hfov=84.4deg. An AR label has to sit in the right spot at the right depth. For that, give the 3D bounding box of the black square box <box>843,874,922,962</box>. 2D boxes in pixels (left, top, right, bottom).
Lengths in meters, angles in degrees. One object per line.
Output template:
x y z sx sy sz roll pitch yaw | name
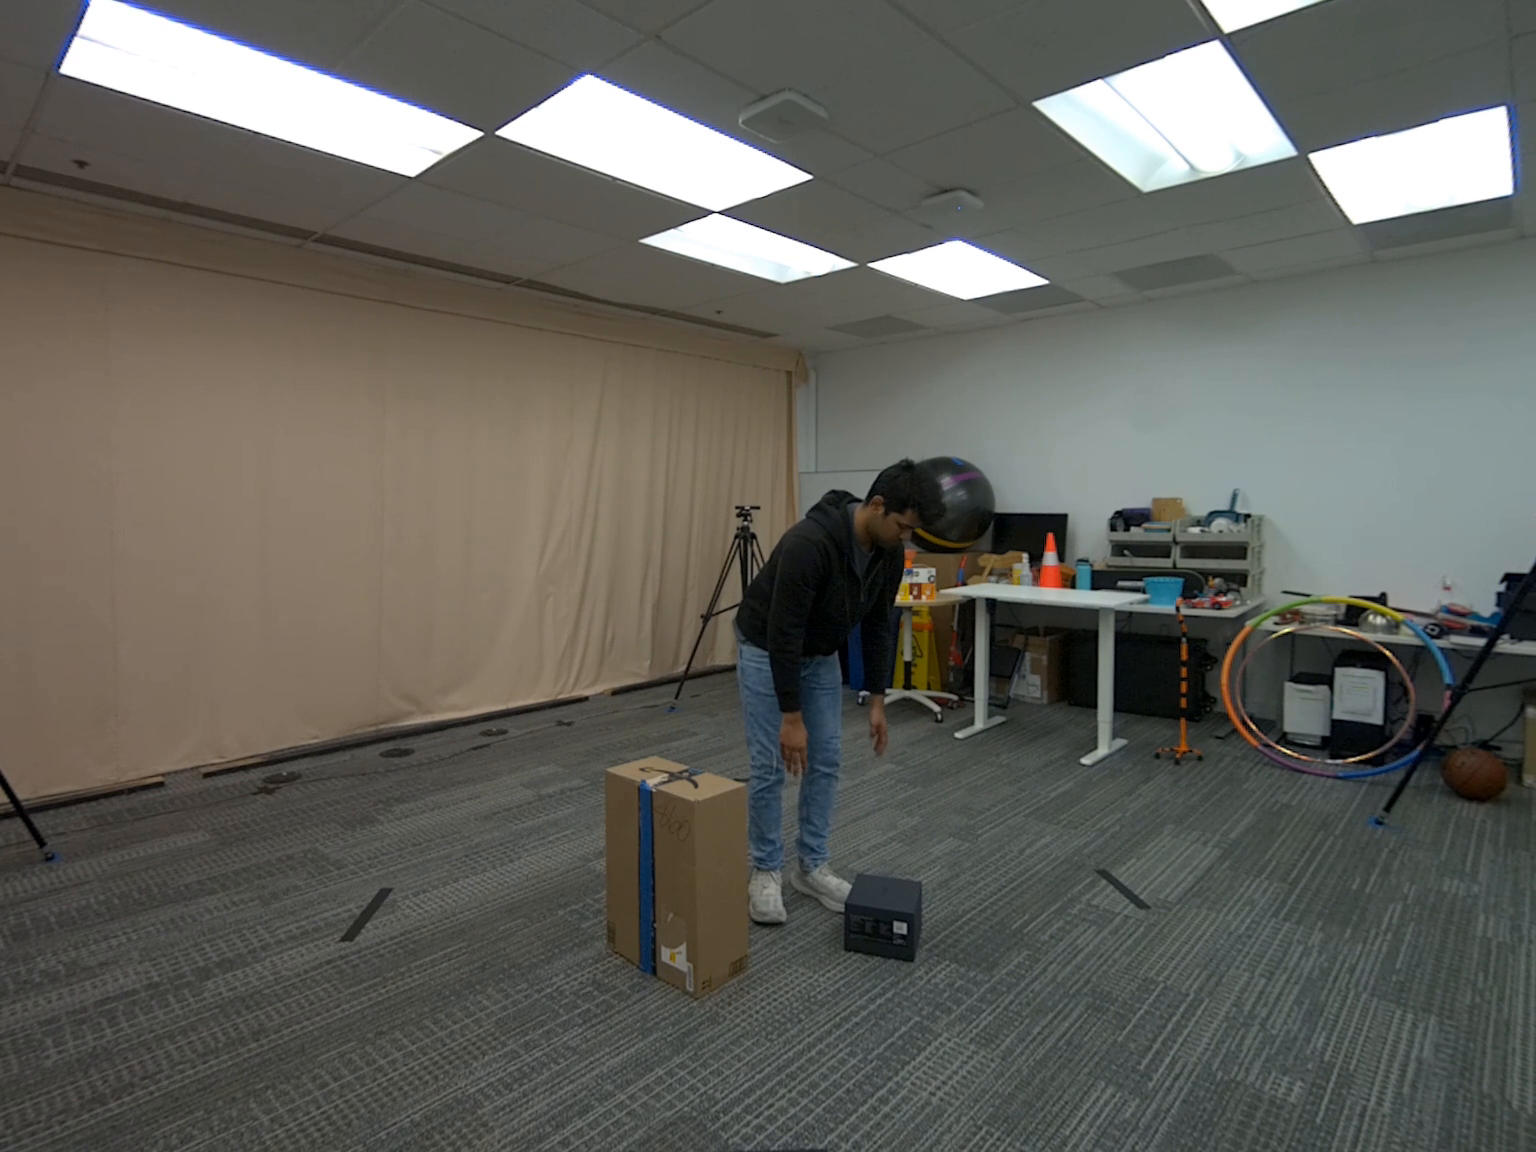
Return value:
0.375 1.083 2.692 0.221 0.155 0.224 2 4 18 | black square box
